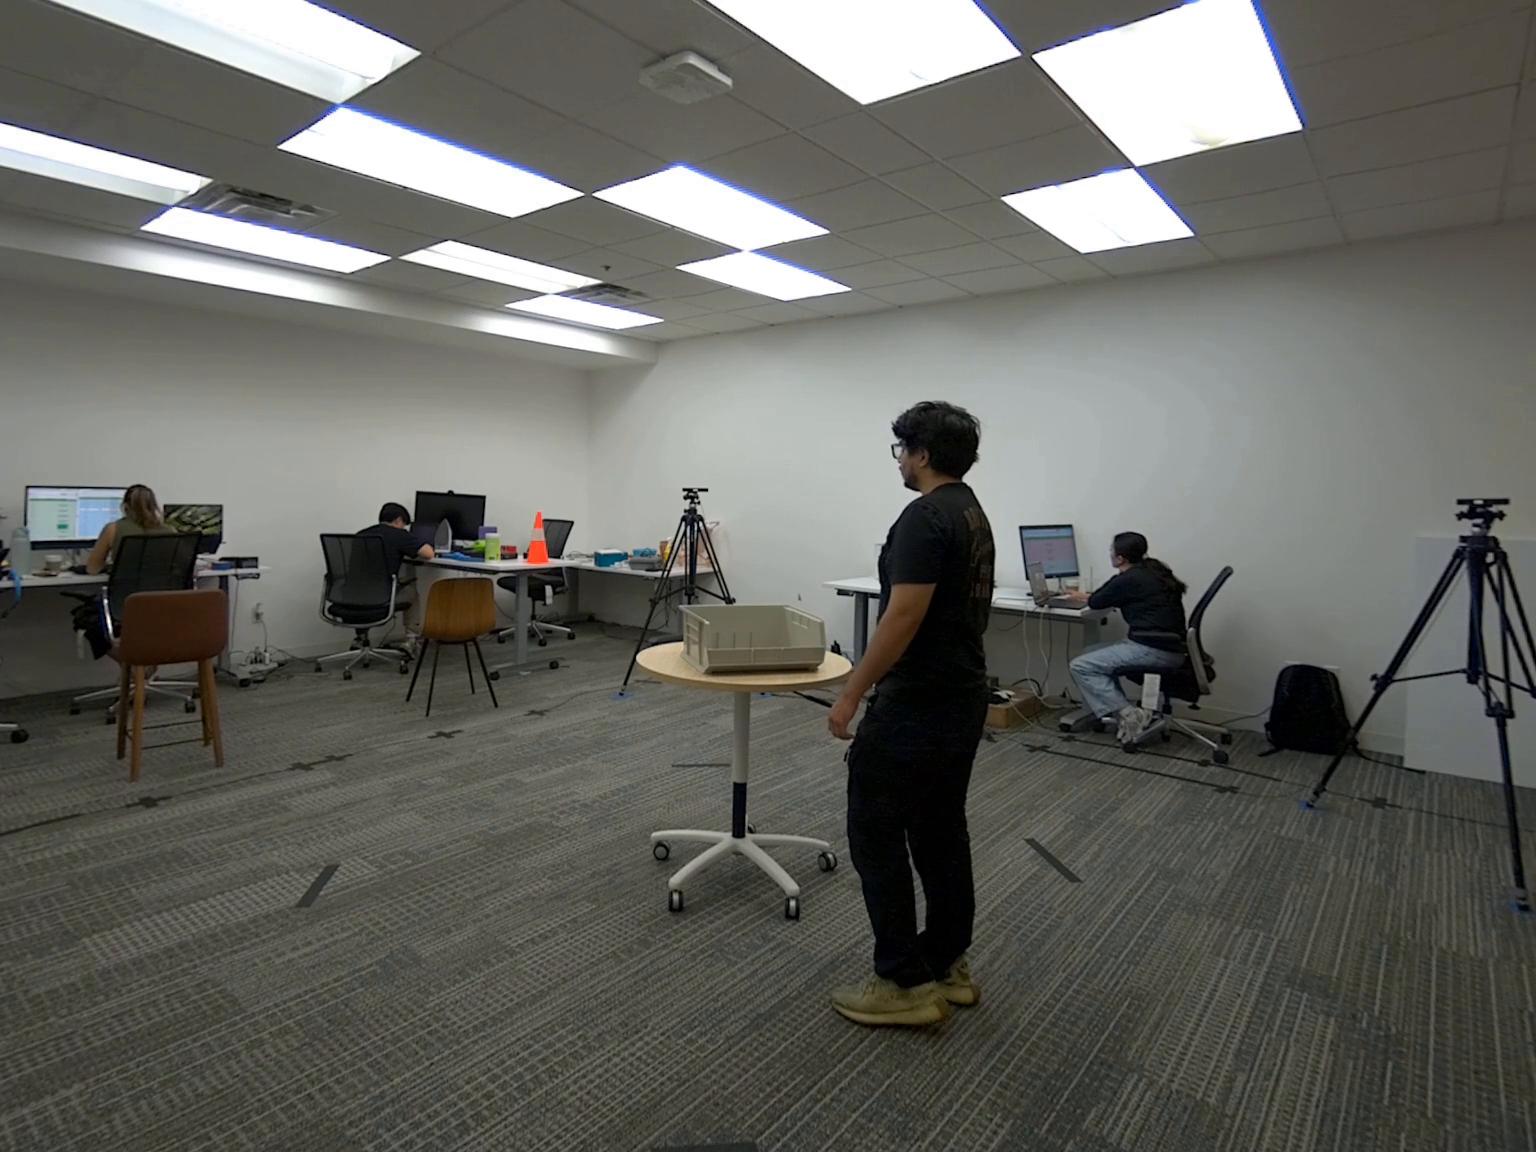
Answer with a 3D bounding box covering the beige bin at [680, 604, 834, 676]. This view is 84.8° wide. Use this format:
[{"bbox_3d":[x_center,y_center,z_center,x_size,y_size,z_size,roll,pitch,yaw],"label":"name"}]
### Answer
[{"bbox_3d":[-0.071,0.210,2.962,0.414,0.188,0.385,-1,4,-19],"label":"beige bin"}]
